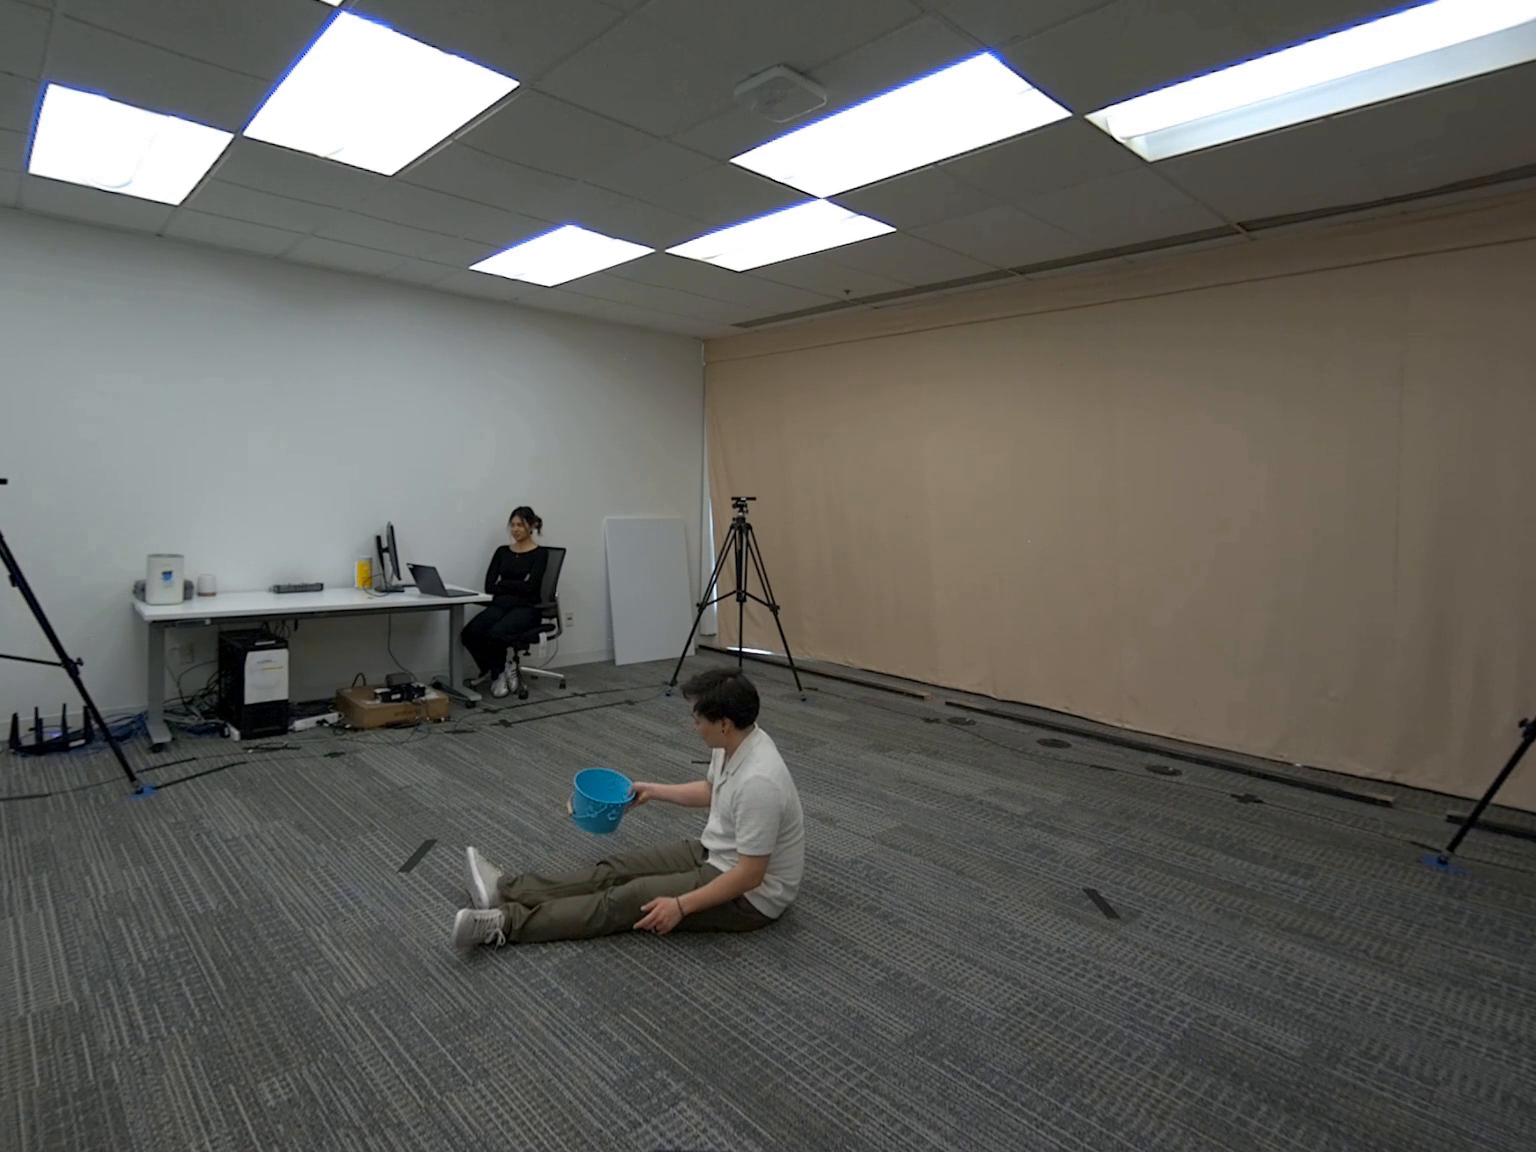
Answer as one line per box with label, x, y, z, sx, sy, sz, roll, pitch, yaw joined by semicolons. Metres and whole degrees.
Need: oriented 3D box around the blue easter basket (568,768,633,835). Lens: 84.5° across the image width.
blue easter basket;-0.640;0.850;3.161;0.242;0.155;0.246;16;13;-5
